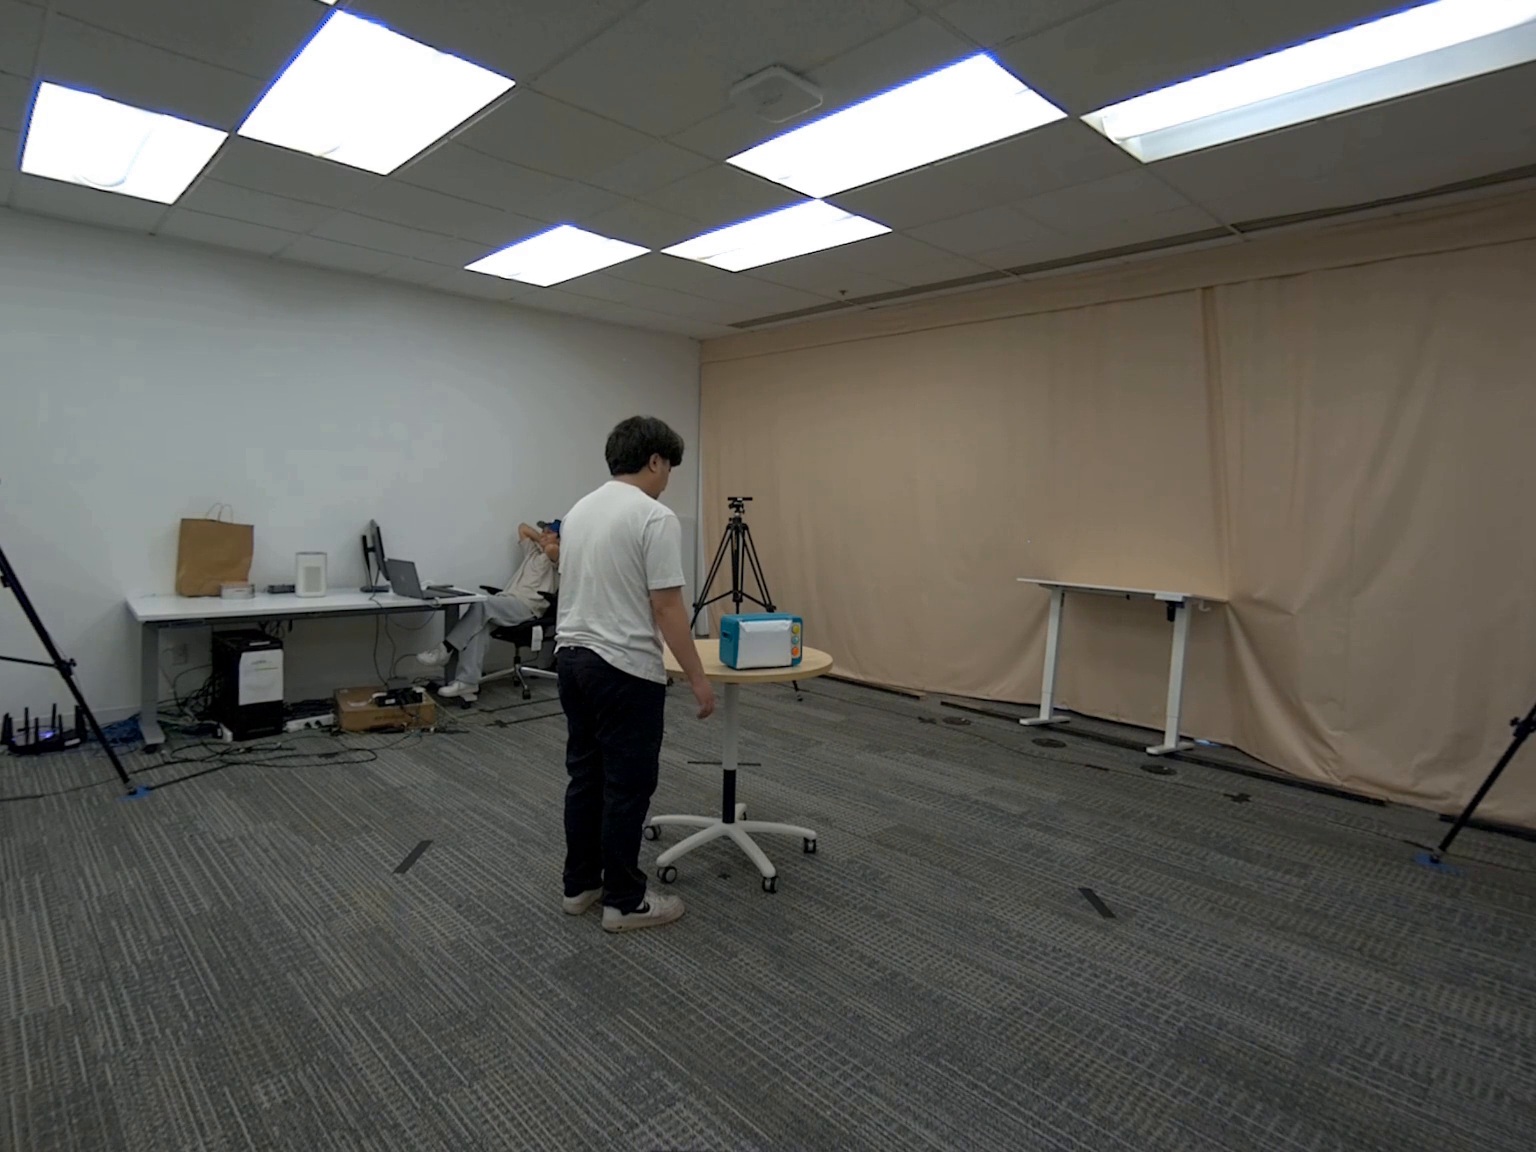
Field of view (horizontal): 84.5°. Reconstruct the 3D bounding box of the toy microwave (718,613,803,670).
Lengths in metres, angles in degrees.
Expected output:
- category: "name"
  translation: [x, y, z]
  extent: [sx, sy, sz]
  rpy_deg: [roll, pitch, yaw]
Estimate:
- category: "toy microwave"
  translation: [-0.025, 0.232, 3.014]
  extent: [0.281, 0.184, 0.155]
  rpy_deg: [-1, 4, -27]
